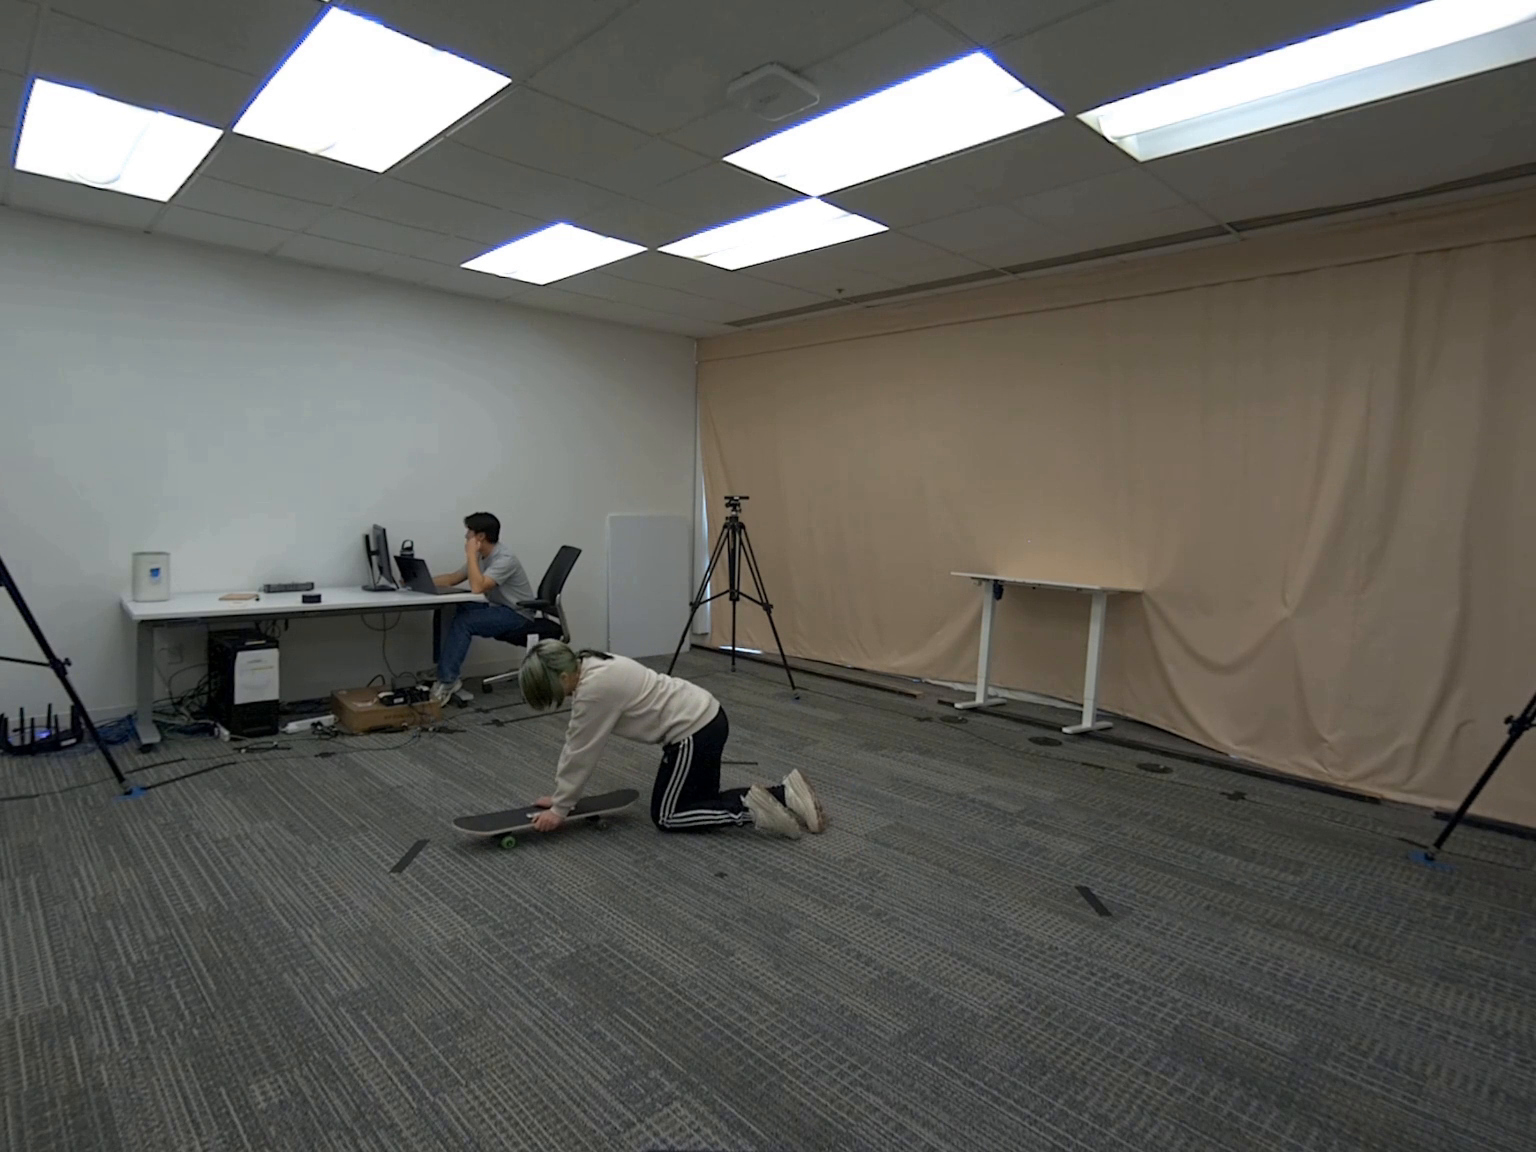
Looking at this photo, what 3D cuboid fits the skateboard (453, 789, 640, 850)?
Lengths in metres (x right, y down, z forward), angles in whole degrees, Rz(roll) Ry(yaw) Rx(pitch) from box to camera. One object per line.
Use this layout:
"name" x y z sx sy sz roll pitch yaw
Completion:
"skateboard" -0.891 0.993 3.462 0.769 0.110 0.198 -2 6 -32
